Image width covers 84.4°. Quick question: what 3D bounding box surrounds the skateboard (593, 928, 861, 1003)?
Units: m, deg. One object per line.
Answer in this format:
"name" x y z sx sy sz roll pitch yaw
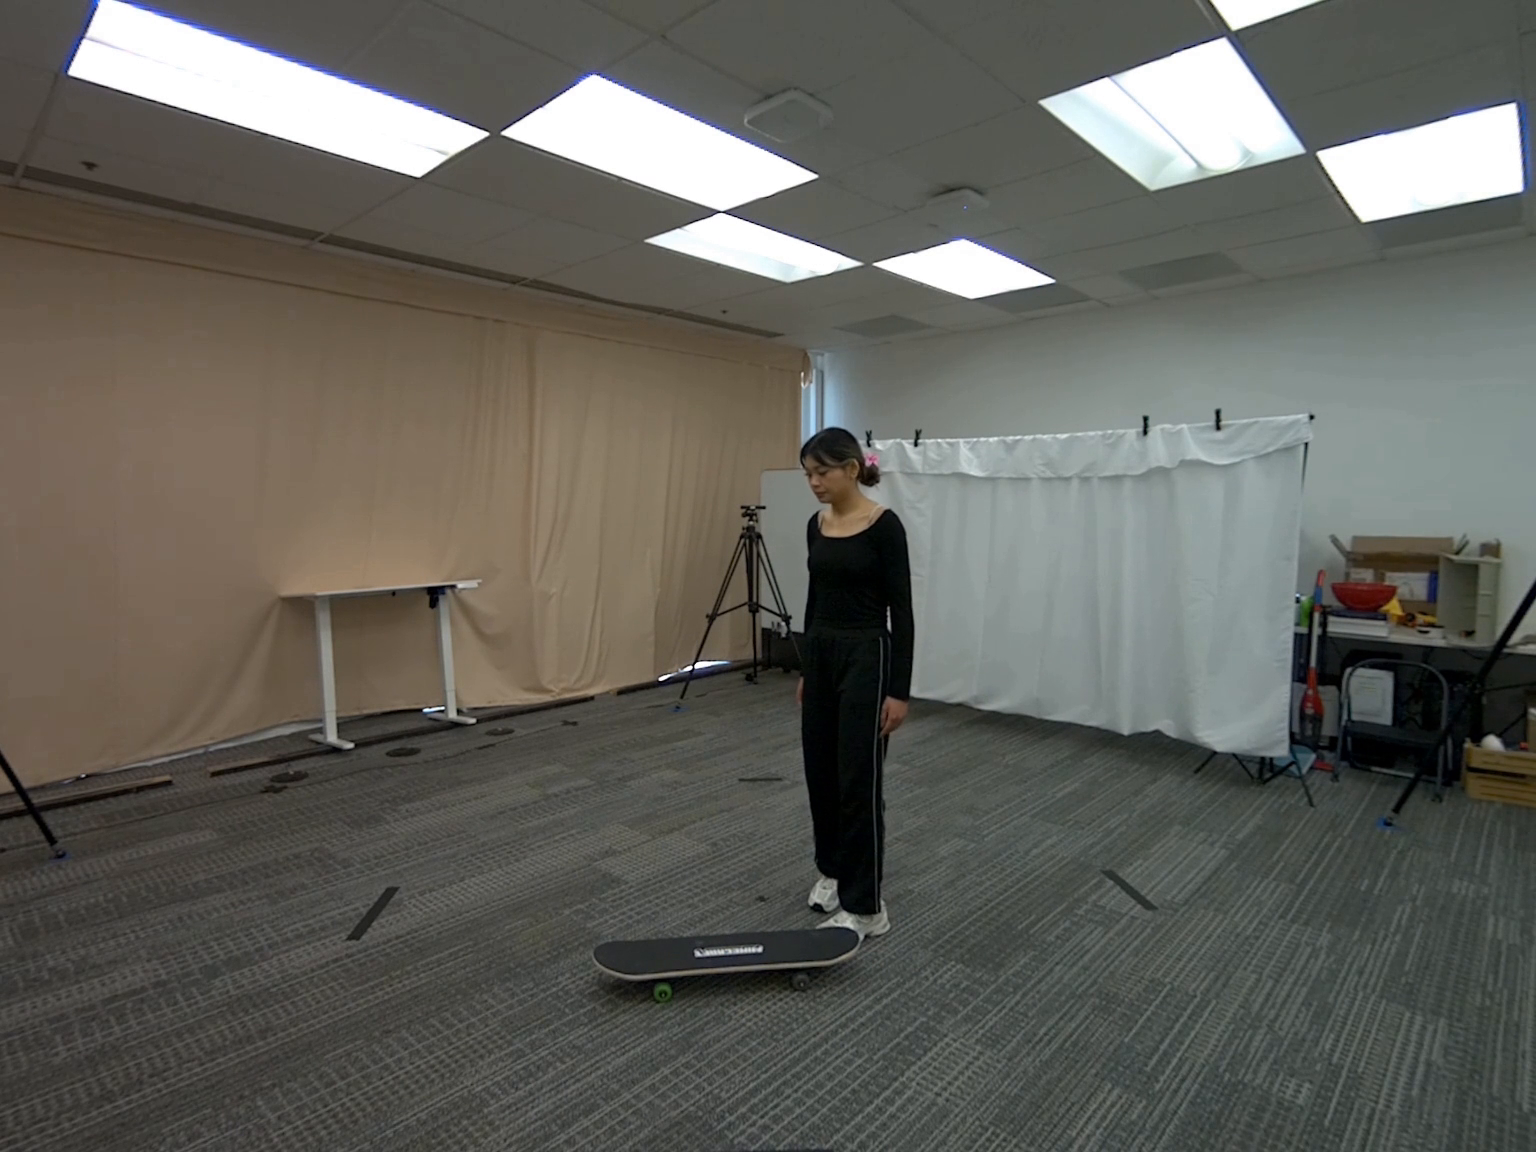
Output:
"skateboard" -0.113 1.135 2.463 0.780 0.110 0.195 -1 4 -6
